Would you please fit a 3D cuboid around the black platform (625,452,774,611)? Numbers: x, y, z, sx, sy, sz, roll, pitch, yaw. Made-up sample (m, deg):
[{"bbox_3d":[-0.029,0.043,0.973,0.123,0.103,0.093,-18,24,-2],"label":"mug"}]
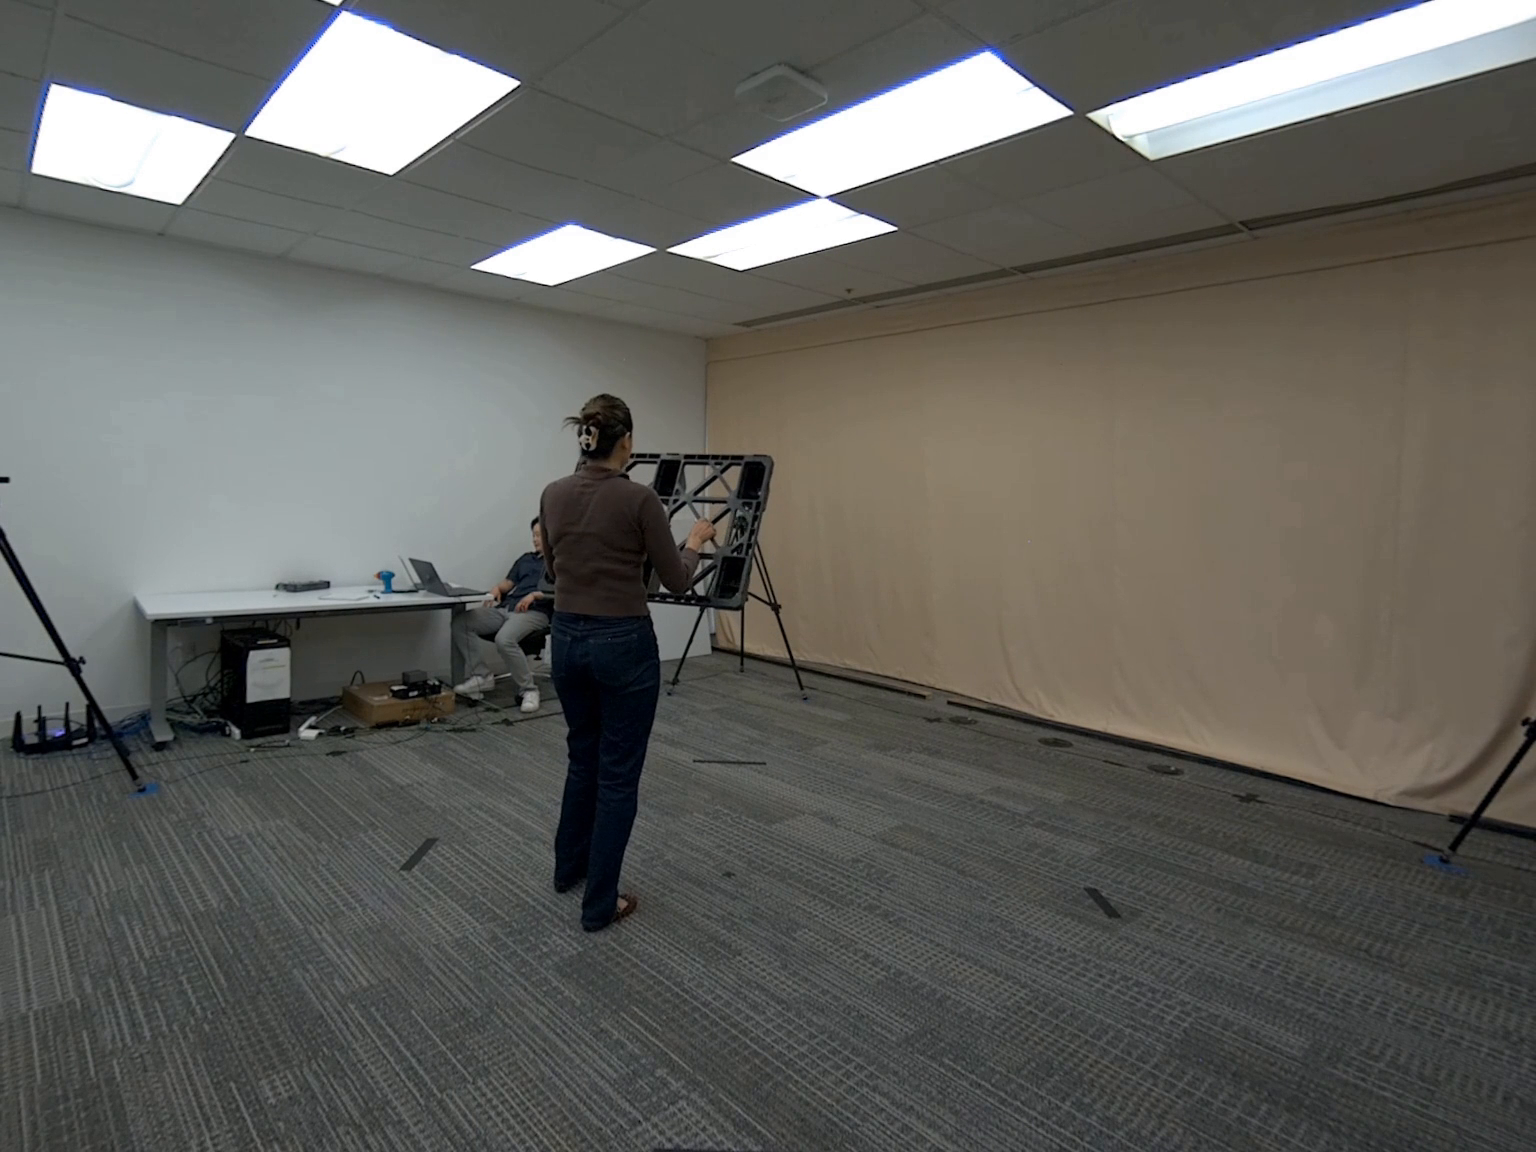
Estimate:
[{"bbox_3d":[-0.406,-0.169,3.114,0.819,0.612,0.139,4,-25,21],"label":"black platform"}]
